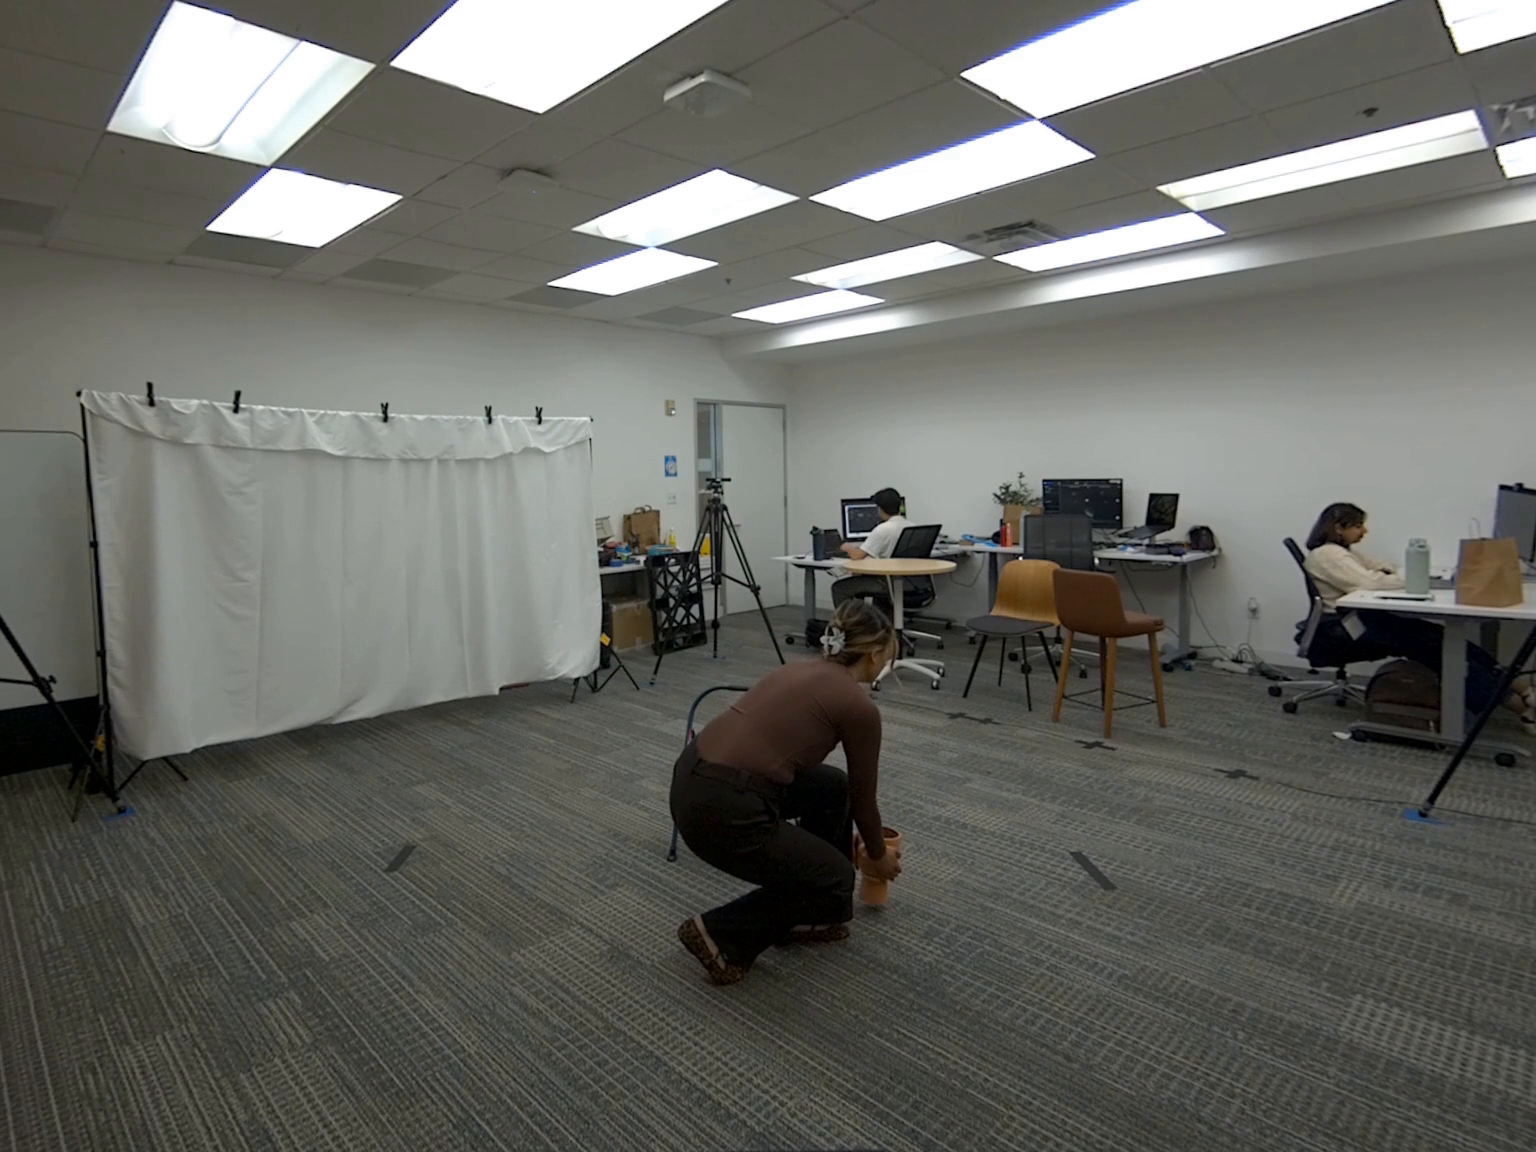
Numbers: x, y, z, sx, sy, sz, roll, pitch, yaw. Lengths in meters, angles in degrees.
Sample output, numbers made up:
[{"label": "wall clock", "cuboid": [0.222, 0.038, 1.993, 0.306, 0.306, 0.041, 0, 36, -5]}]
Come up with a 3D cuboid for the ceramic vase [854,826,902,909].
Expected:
[{"label": "ceramic vase", "cuboid": [0.356, 0.931, 2.758, 0.157, 0.220, 0.136, 6, 1, -9]}]
